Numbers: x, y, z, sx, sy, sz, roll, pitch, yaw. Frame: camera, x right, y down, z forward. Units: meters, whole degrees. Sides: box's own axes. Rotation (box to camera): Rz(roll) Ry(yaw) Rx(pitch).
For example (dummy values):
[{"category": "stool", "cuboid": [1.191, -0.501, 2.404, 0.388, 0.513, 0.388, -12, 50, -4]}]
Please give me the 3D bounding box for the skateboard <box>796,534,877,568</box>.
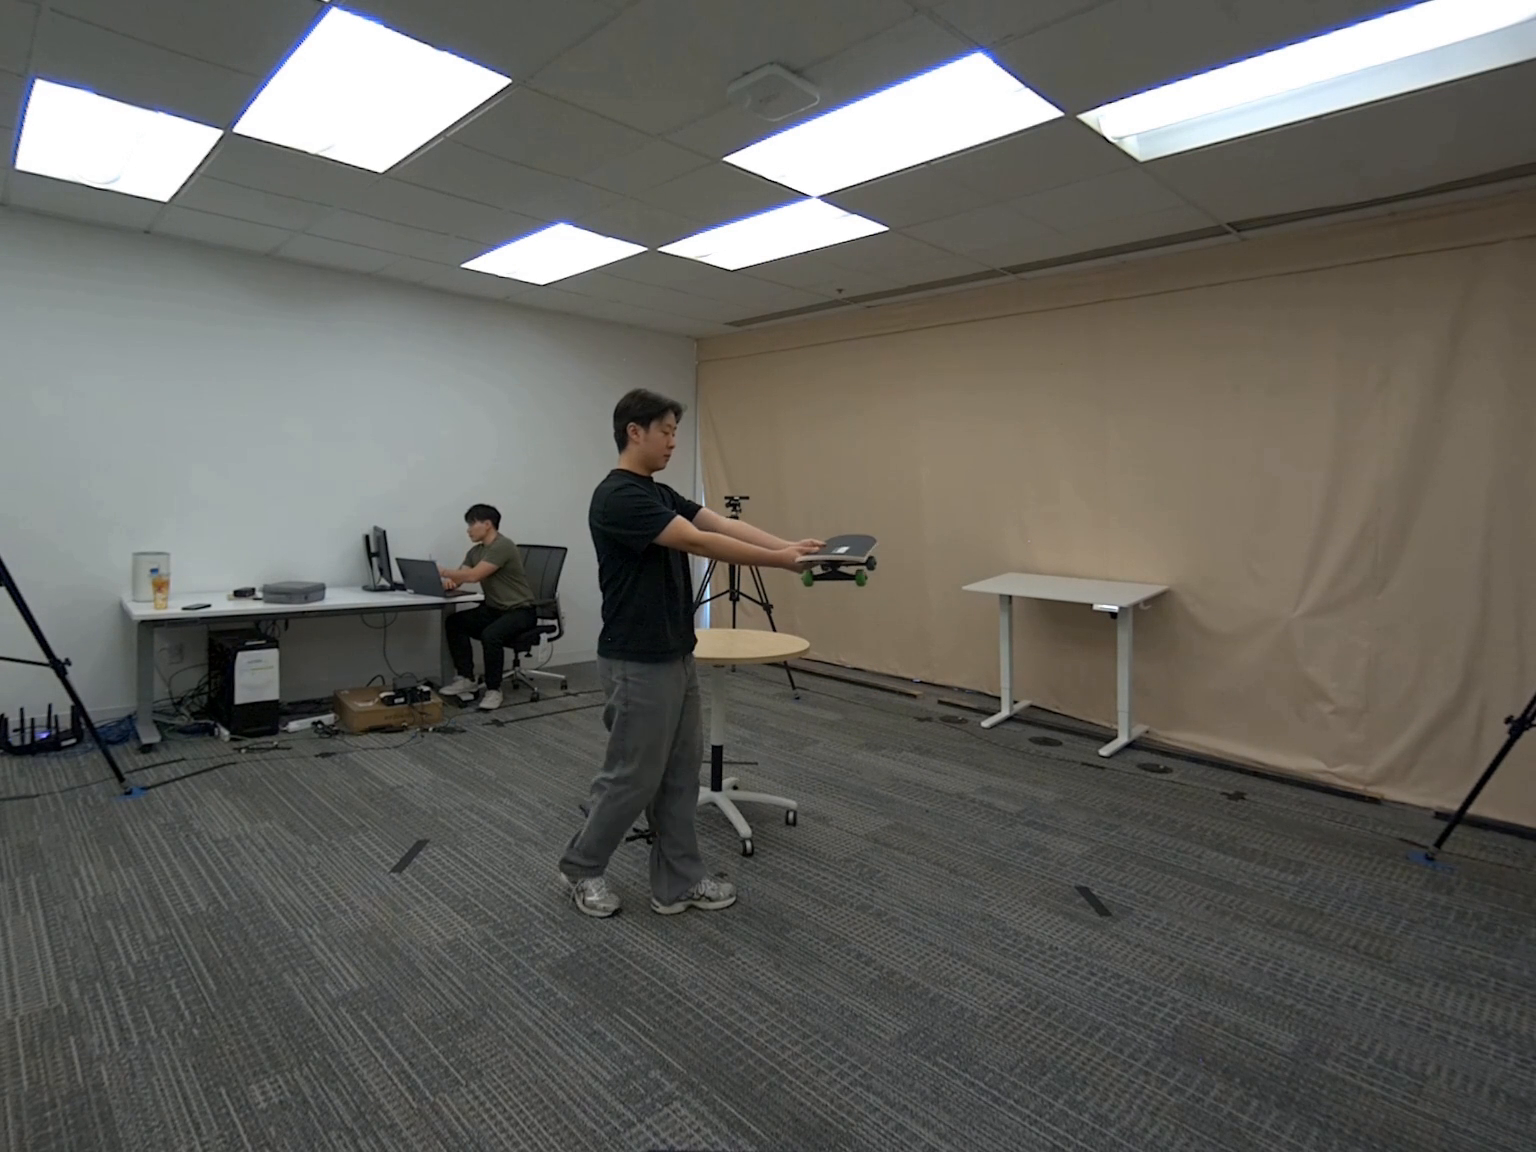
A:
[{"category": "skateboard", "cuboid": [0.216, -0.044, 2.636, 0.196, 0.110, 0.779, -1, 7, 14]}]
